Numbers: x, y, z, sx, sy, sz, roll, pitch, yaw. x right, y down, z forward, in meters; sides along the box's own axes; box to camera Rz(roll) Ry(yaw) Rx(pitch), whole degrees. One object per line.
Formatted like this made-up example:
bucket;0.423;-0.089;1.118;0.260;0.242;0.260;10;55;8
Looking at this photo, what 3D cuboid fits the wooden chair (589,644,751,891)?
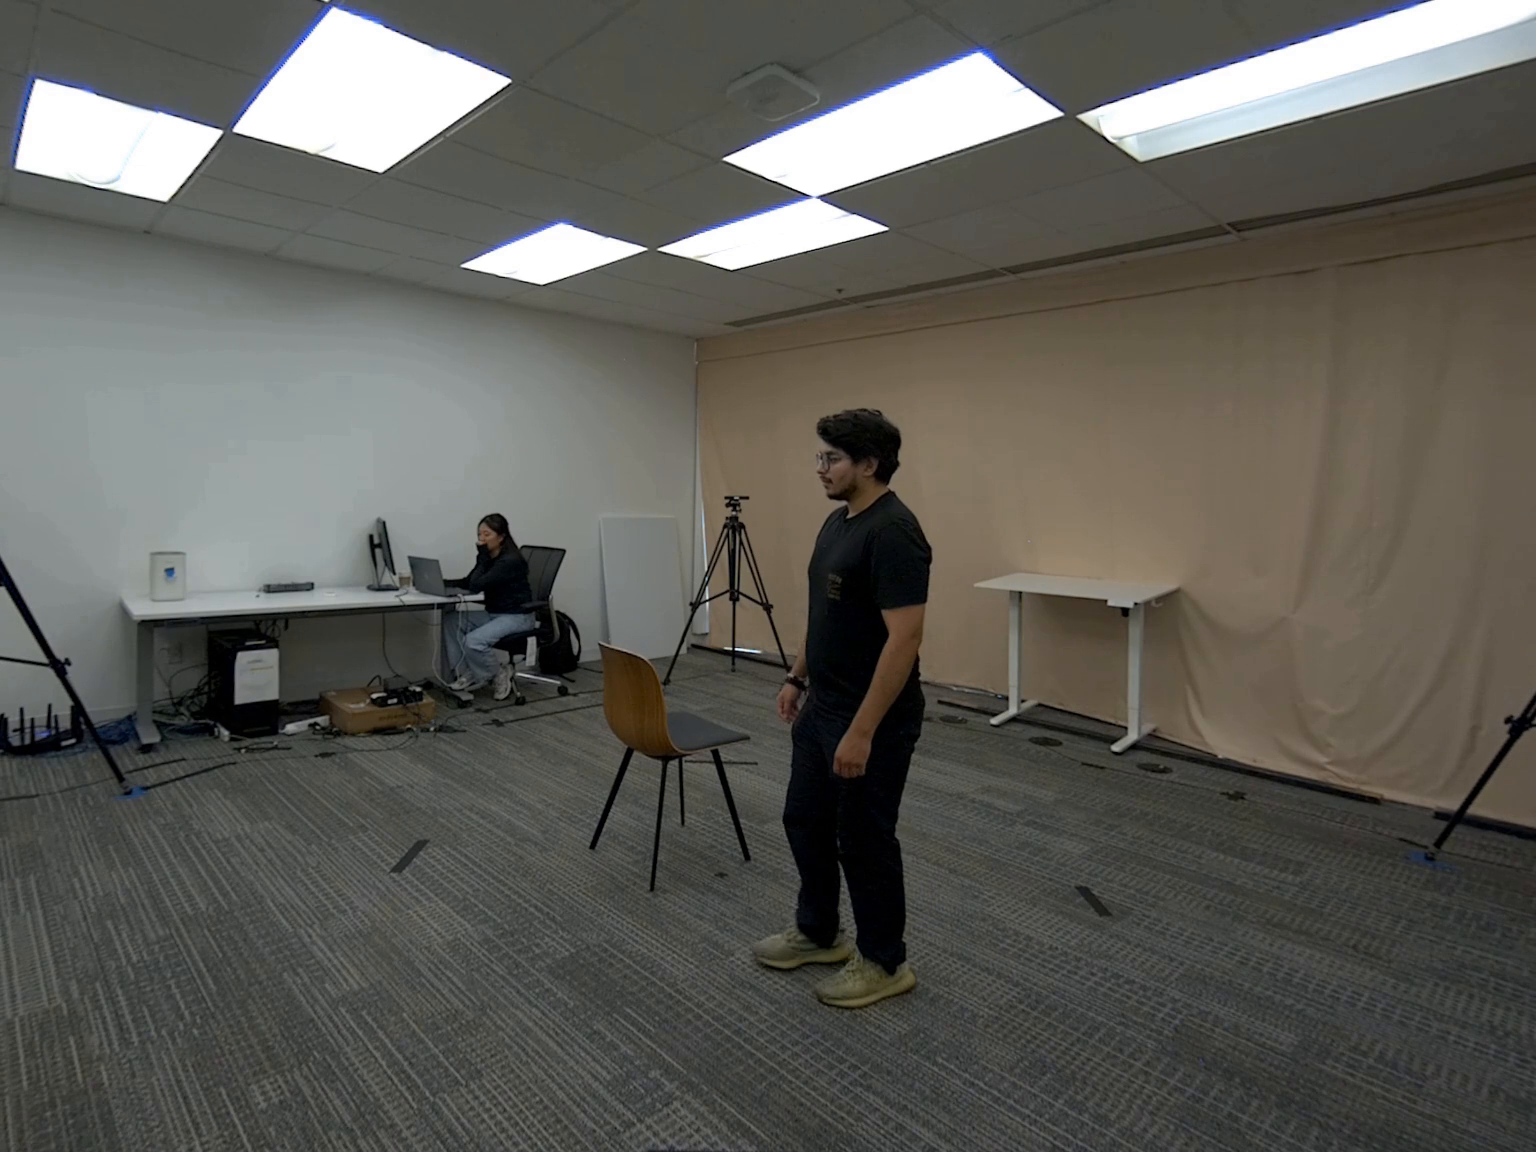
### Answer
wooden chair;-0.373;0.659;3.244;0.512;0.873;0.490;-7;8;-39
